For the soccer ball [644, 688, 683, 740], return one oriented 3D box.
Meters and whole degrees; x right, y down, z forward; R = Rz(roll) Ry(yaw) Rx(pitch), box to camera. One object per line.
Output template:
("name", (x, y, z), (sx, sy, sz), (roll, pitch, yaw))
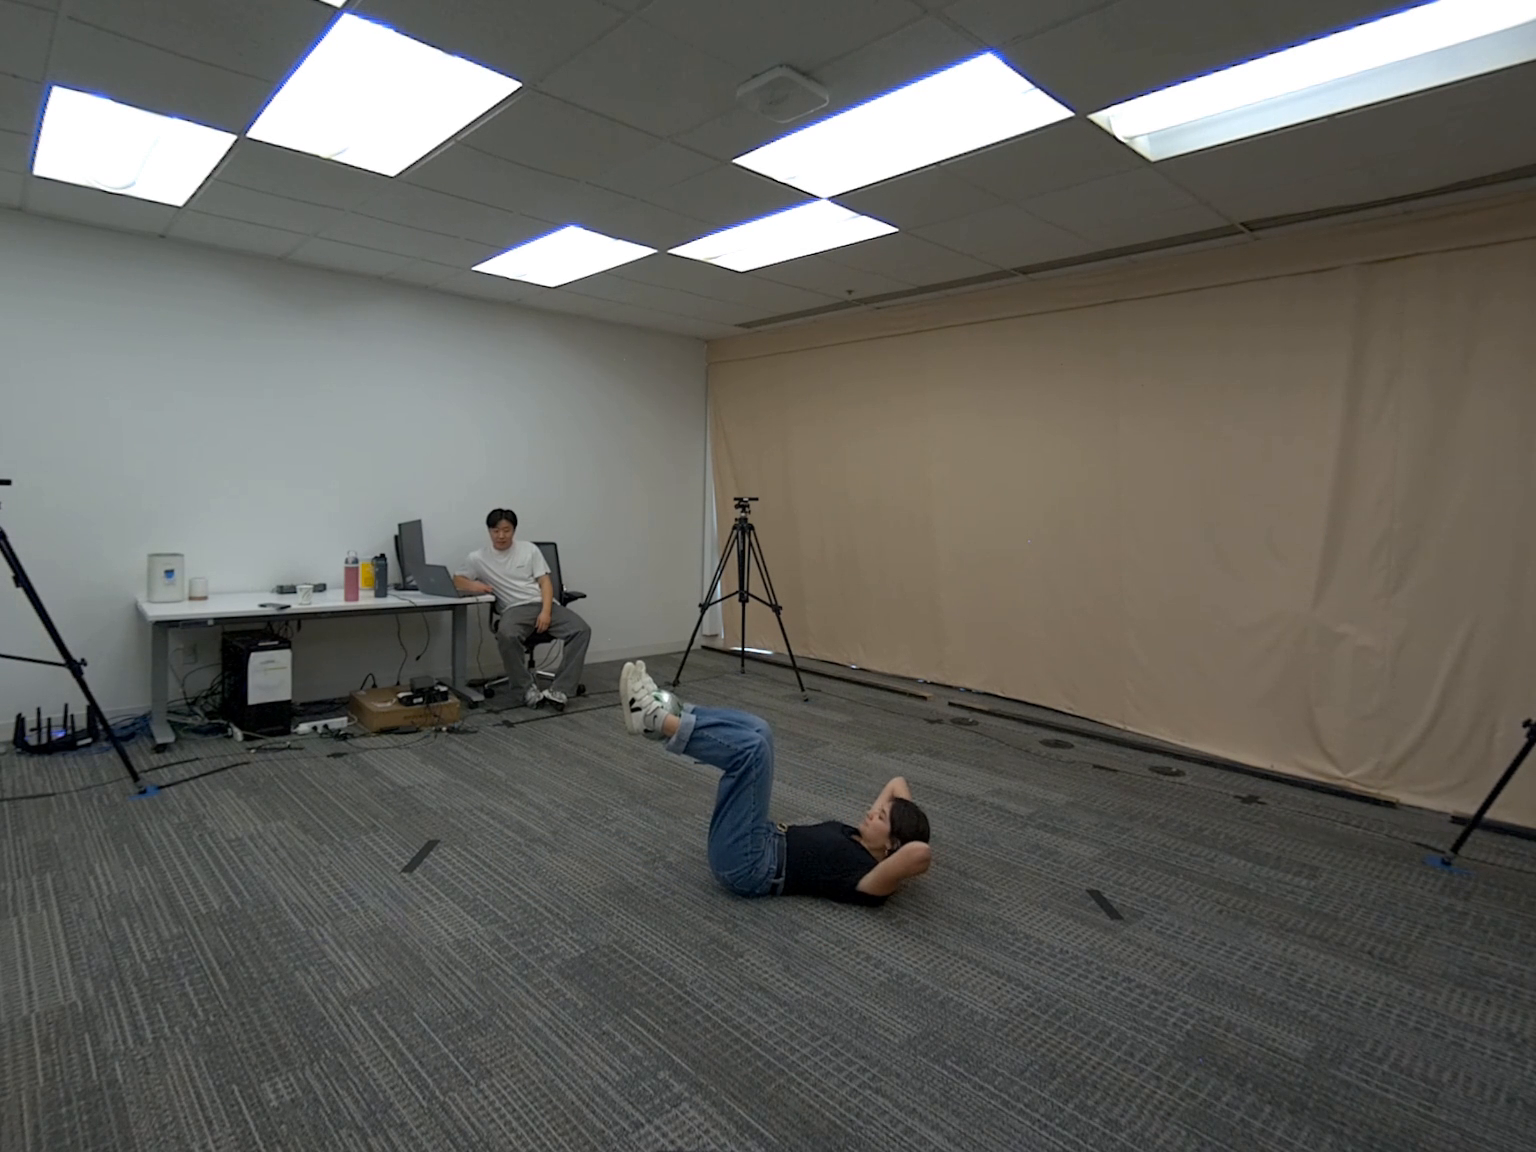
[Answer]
("soccer ball", (-0.422, 0.522, 3.098), (0.187, 0.186, 0.188), (1, 7, -1))
